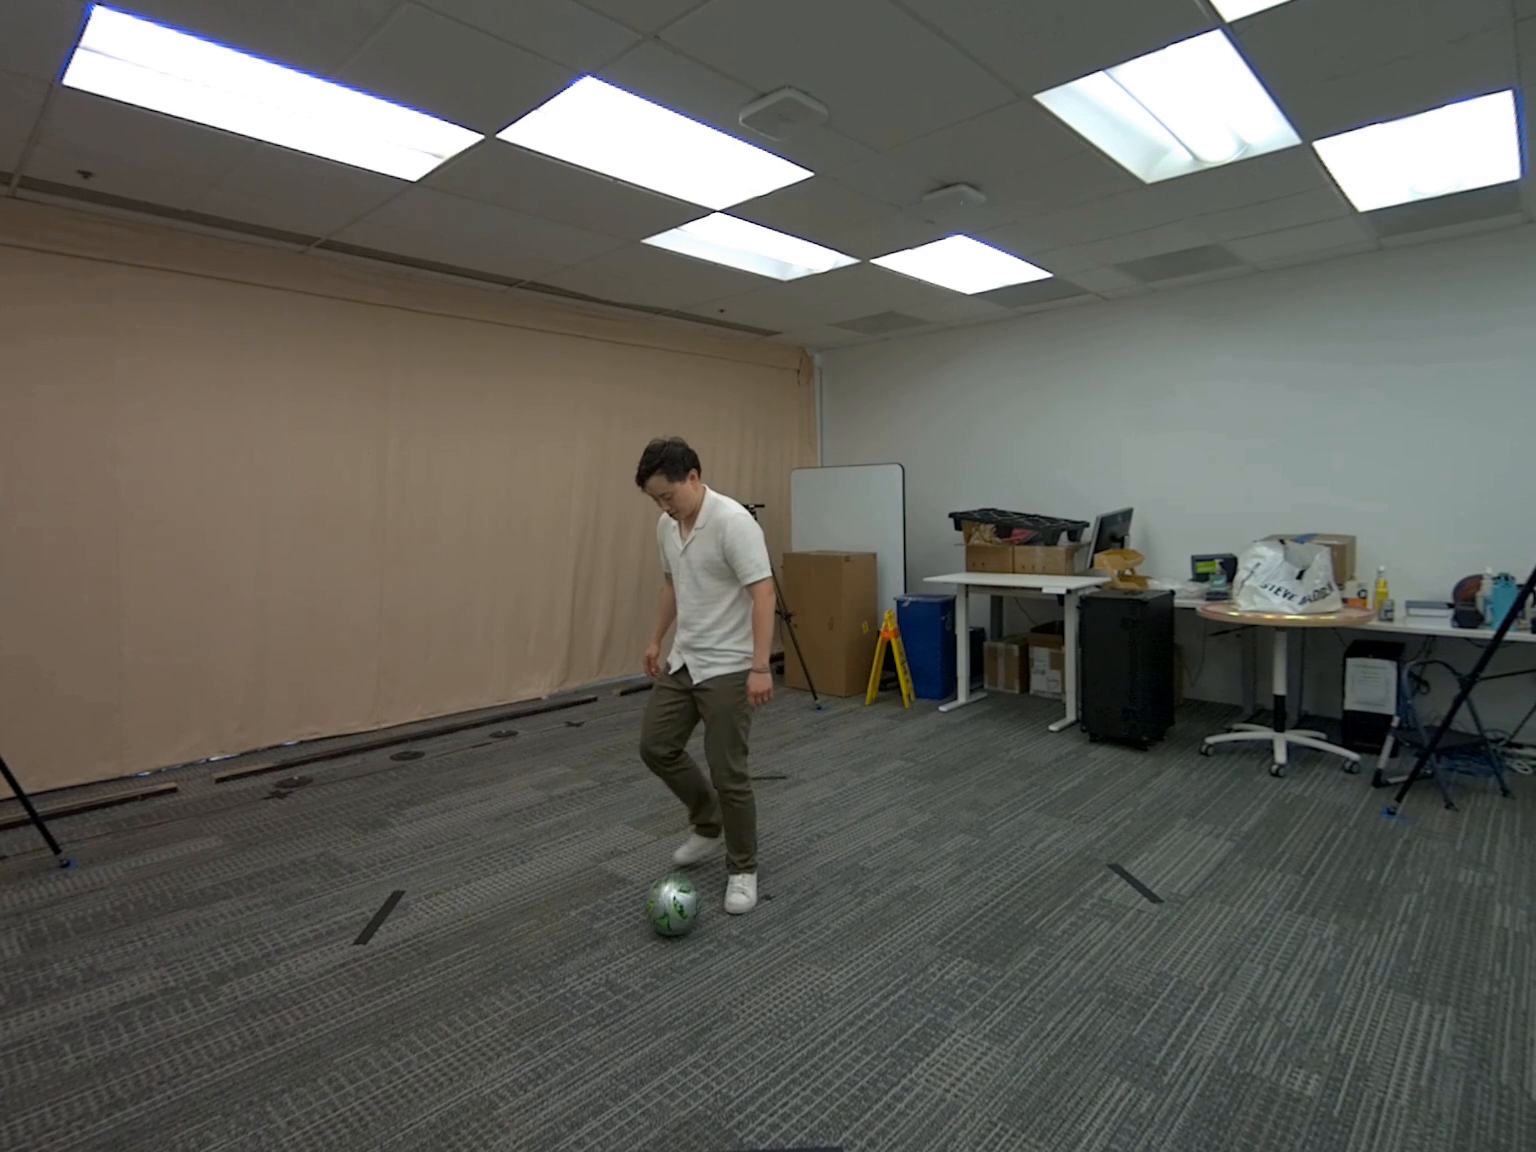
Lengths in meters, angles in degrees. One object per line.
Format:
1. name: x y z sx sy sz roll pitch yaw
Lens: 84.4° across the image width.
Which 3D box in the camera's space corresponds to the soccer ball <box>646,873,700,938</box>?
1. soccer ball: -0.305 1.068 2.751 0.187 0.187 0.188 -1 4 -2
